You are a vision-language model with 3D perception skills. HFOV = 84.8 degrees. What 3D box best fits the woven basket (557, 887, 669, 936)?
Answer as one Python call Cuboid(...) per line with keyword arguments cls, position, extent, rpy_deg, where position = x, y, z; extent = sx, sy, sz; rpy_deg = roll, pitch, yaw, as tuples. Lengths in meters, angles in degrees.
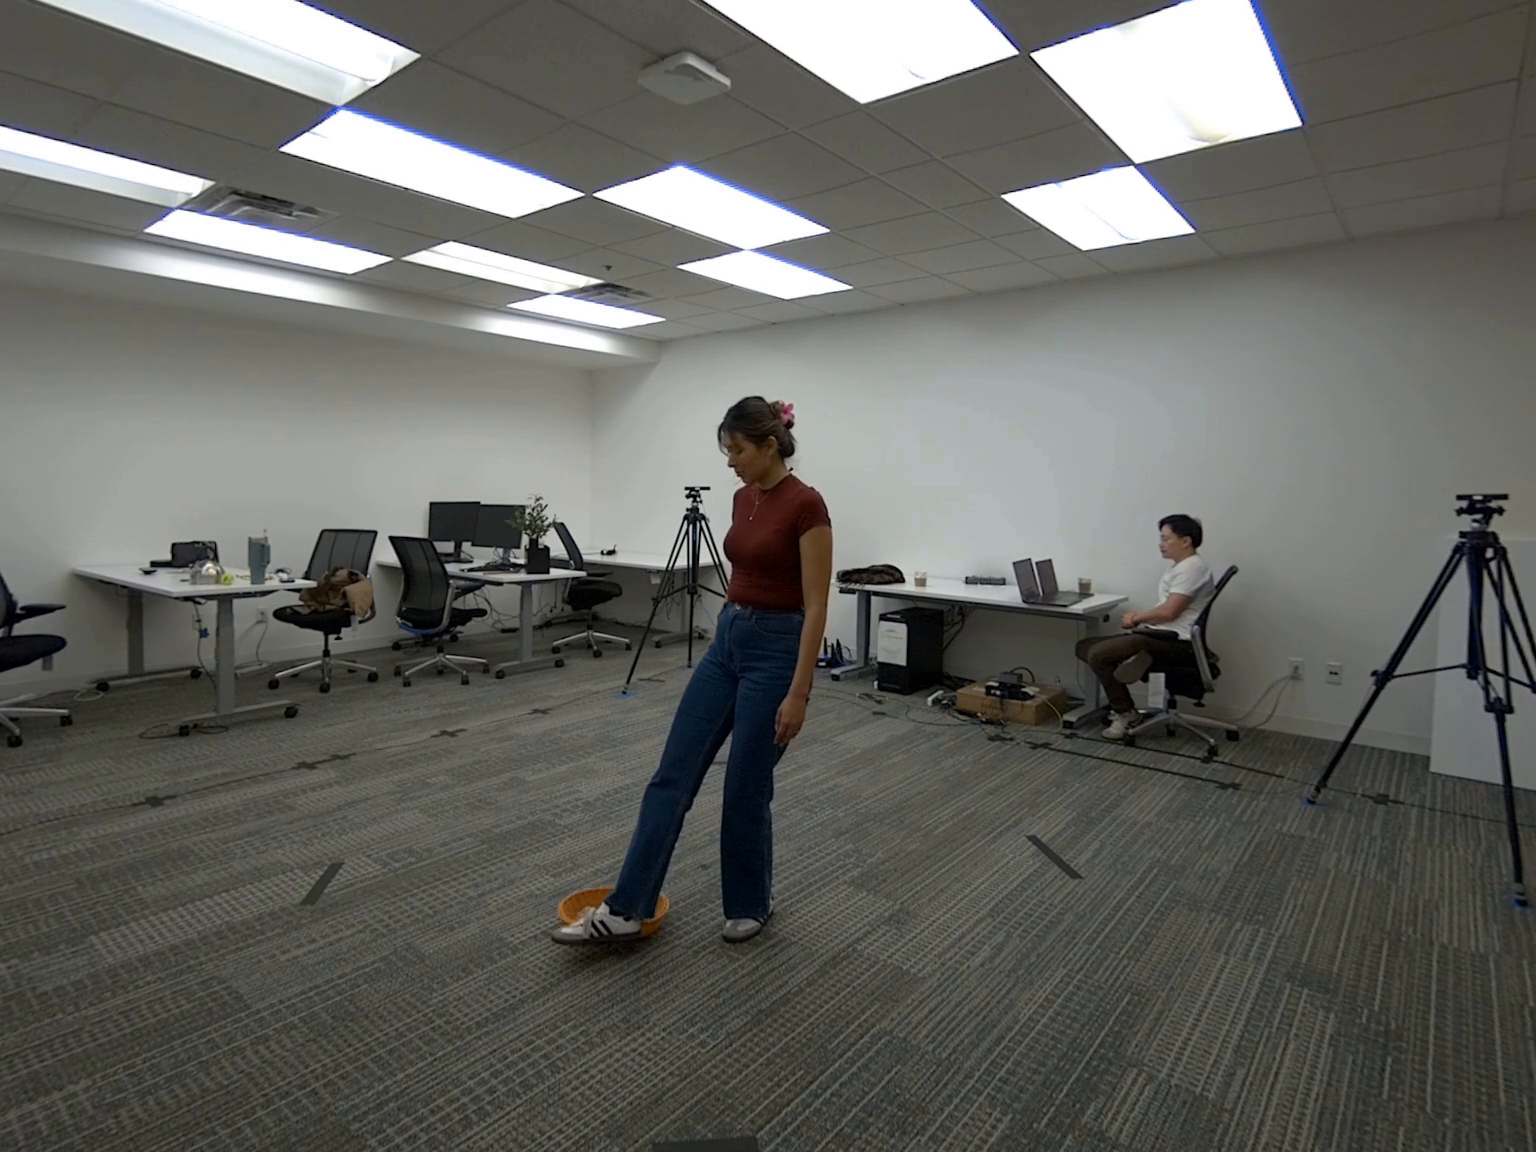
Cuboid(cls="woven basket", position=(-0.489, 1.063, 2.672), extent=(0.347, 0.073, 0.256), rpy_deg=(0, 7, -9))
